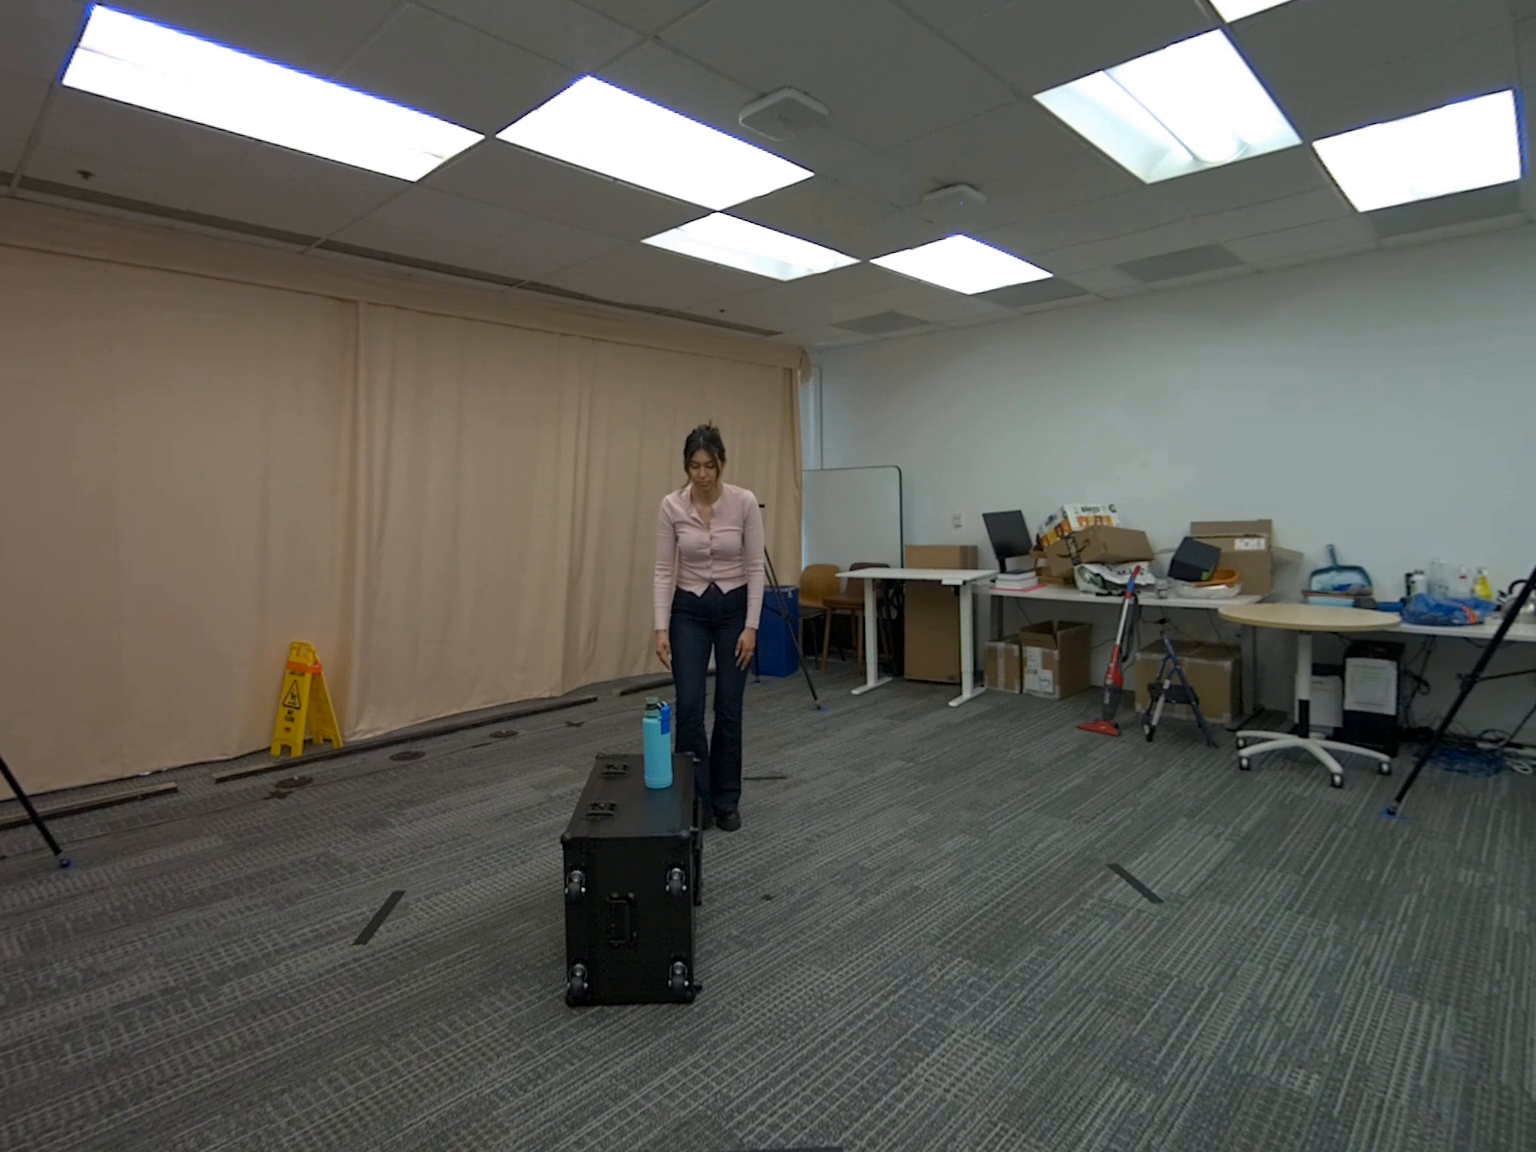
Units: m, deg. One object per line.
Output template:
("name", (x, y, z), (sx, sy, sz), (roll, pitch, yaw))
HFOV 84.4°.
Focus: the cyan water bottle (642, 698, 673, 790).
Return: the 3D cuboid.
("cyan water bottle", (-0.364, 0.542, 2.759), (0.092, 0.283, 0.092), (-1, 3, -2))
